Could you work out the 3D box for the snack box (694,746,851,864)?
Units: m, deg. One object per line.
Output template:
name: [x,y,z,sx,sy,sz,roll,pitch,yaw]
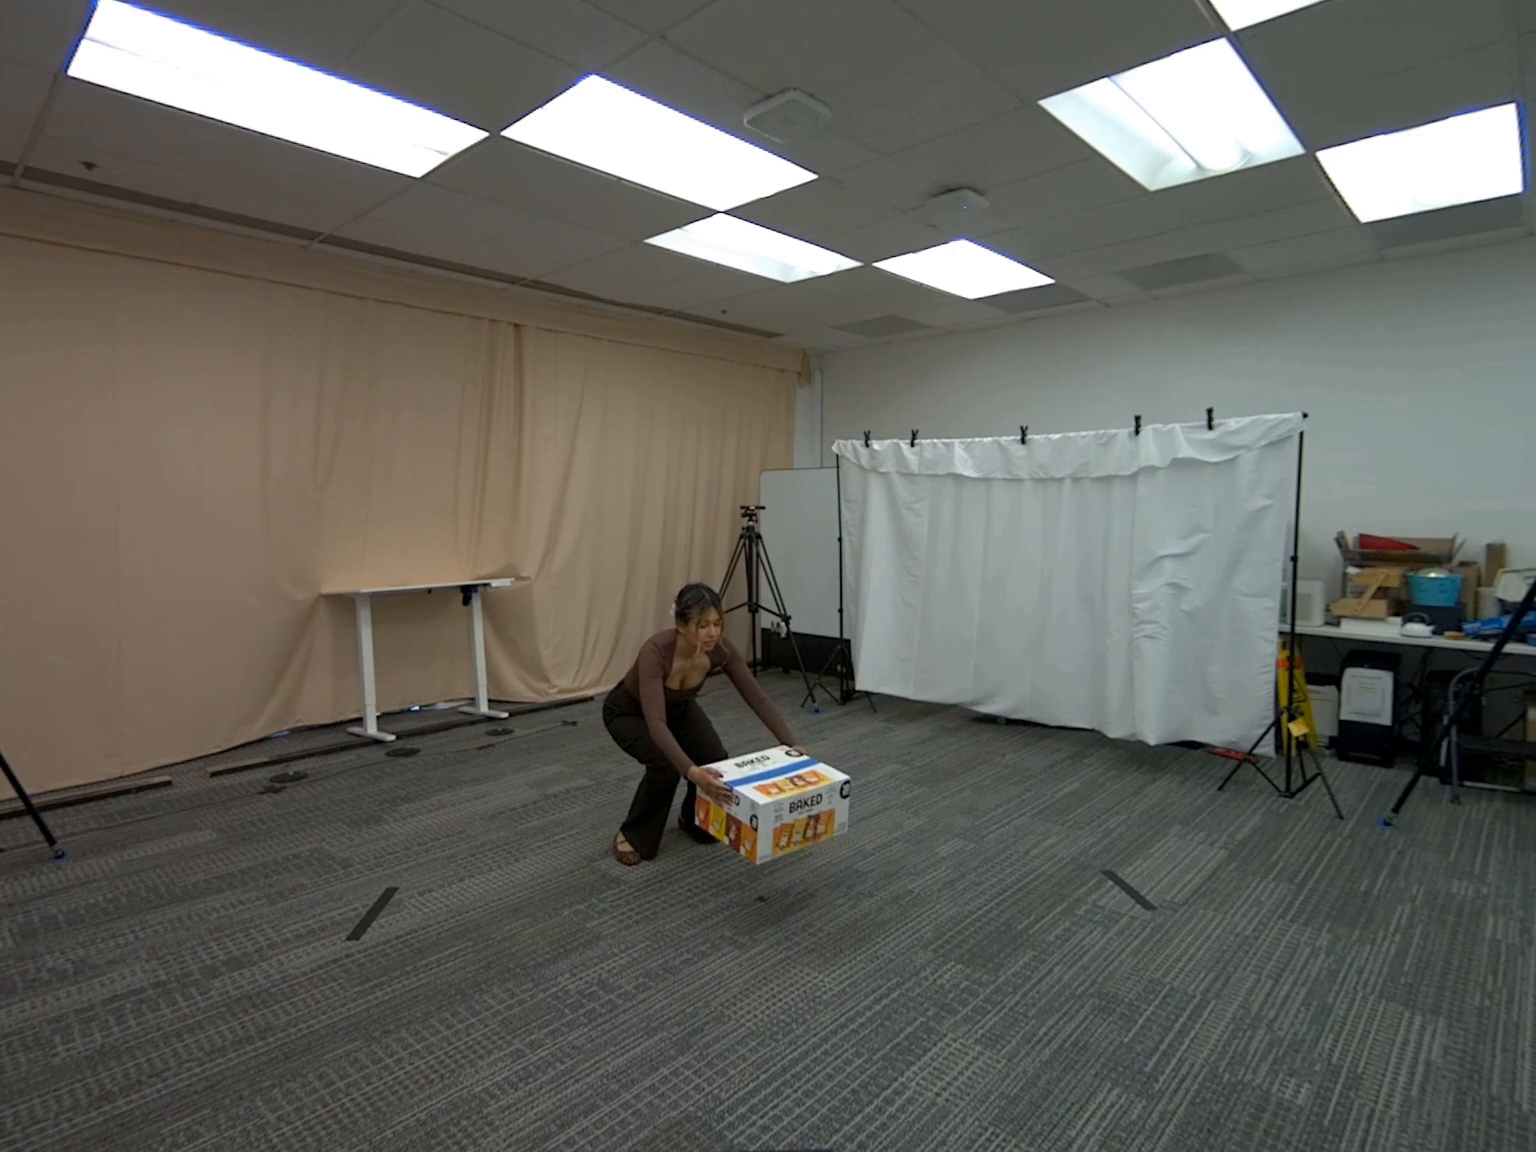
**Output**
snack box: [0.016,0.772,2.883,0.393,0.204,0.352,-5,13,-38]
